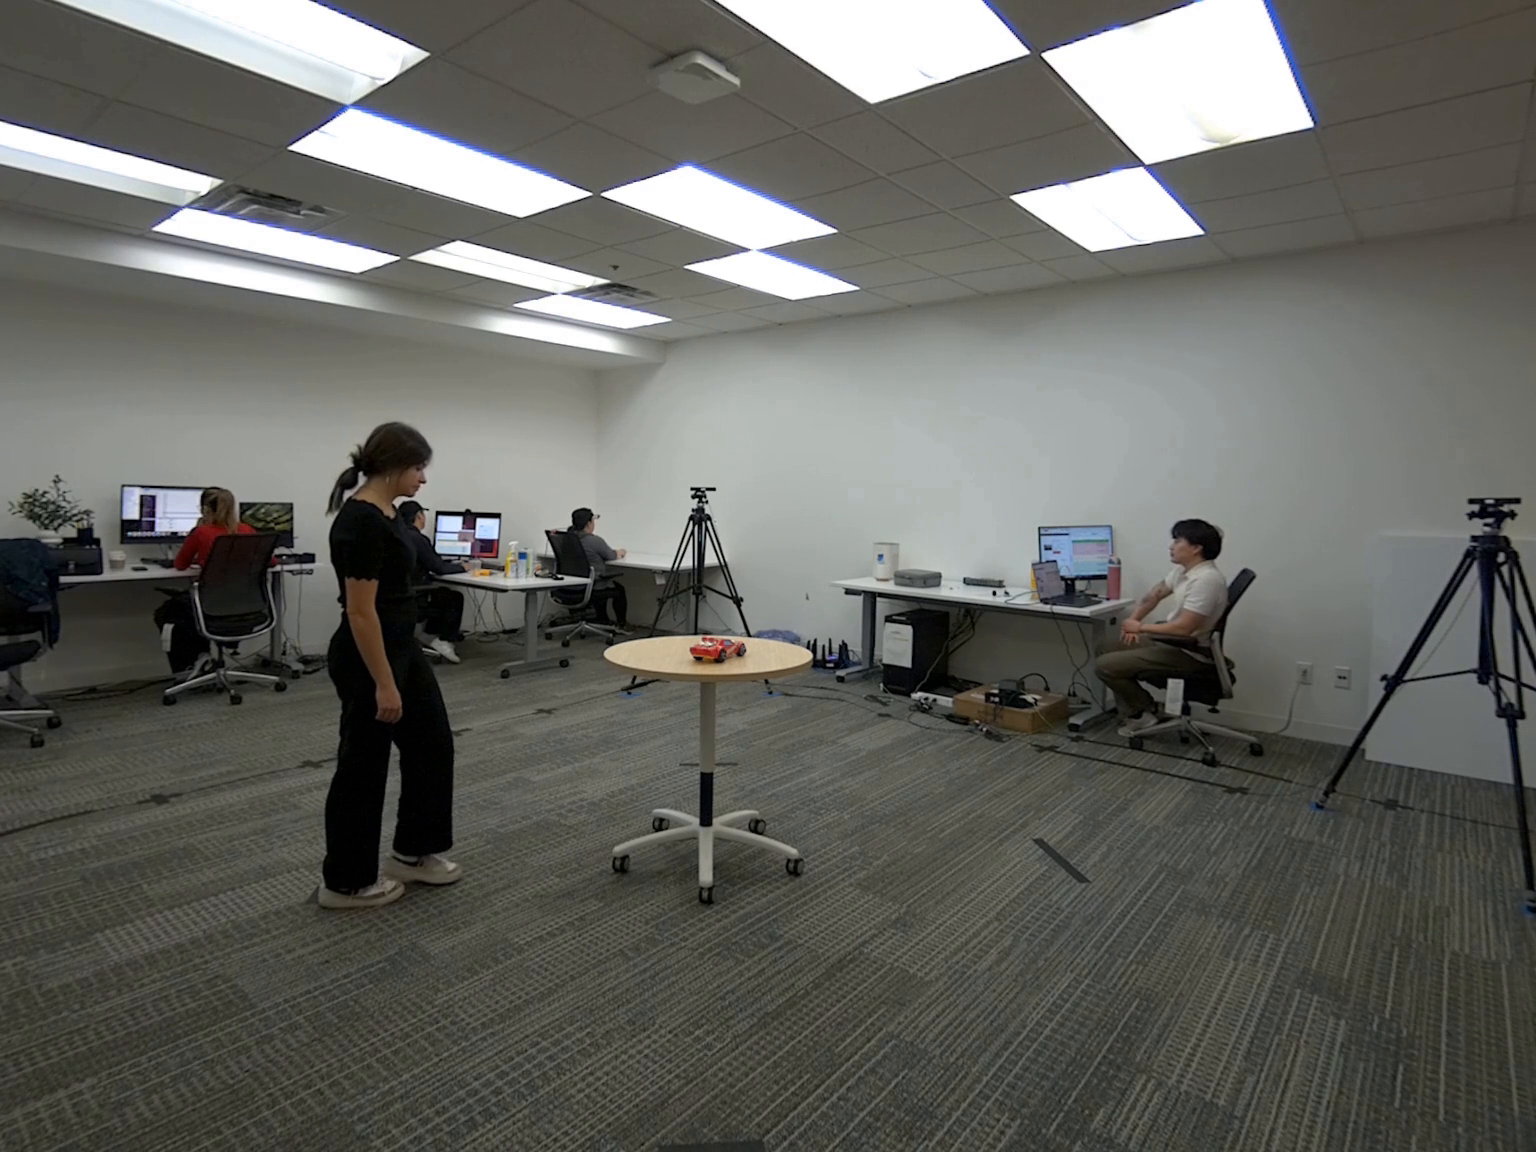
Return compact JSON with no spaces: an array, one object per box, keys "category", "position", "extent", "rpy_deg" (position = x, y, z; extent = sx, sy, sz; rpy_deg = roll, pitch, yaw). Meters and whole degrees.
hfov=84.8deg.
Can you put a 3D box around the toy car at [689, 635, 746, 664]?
[{"category":"toy car","position":[-0.195,0.263,3.006],"extent":[0.134,0.084,0.246],"rpy_deg":[2,-6,29]}]
